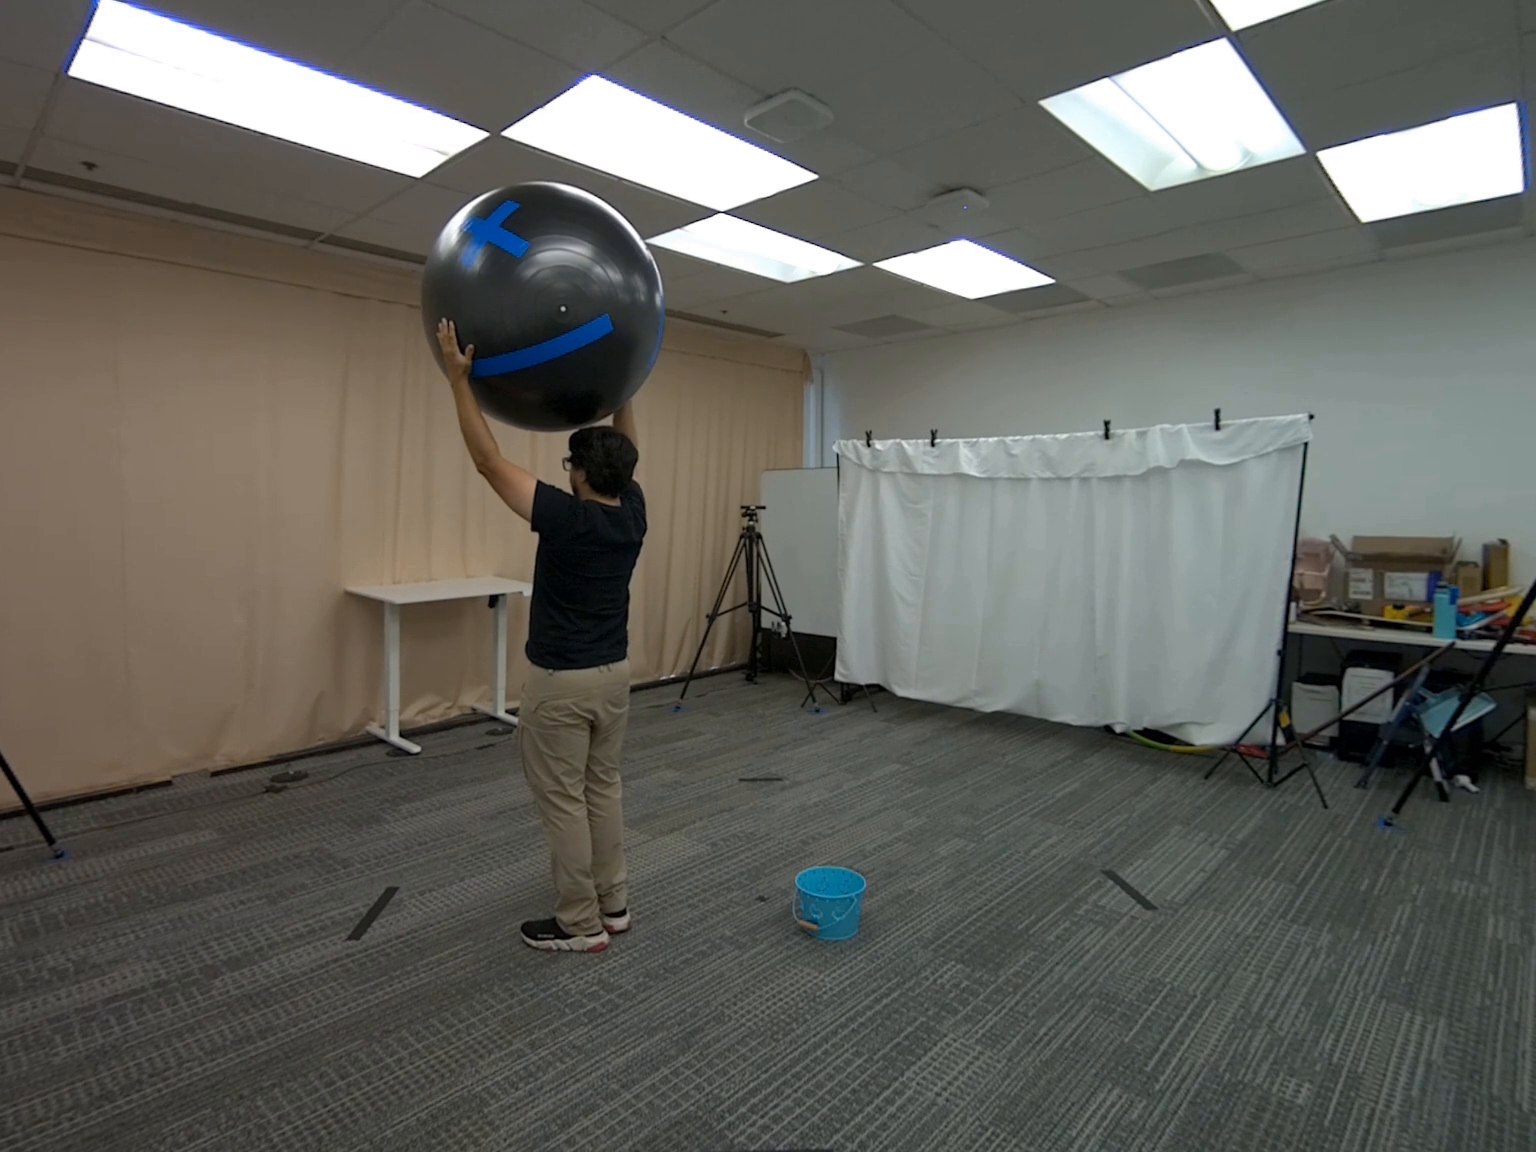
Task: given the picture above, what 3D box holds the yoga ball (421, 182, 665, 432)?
[{"bbox_3d":[-0.702,-0.838,2.680,0.757,0.756,0.761,0,4,-2],"label":"yoga ball"}]
